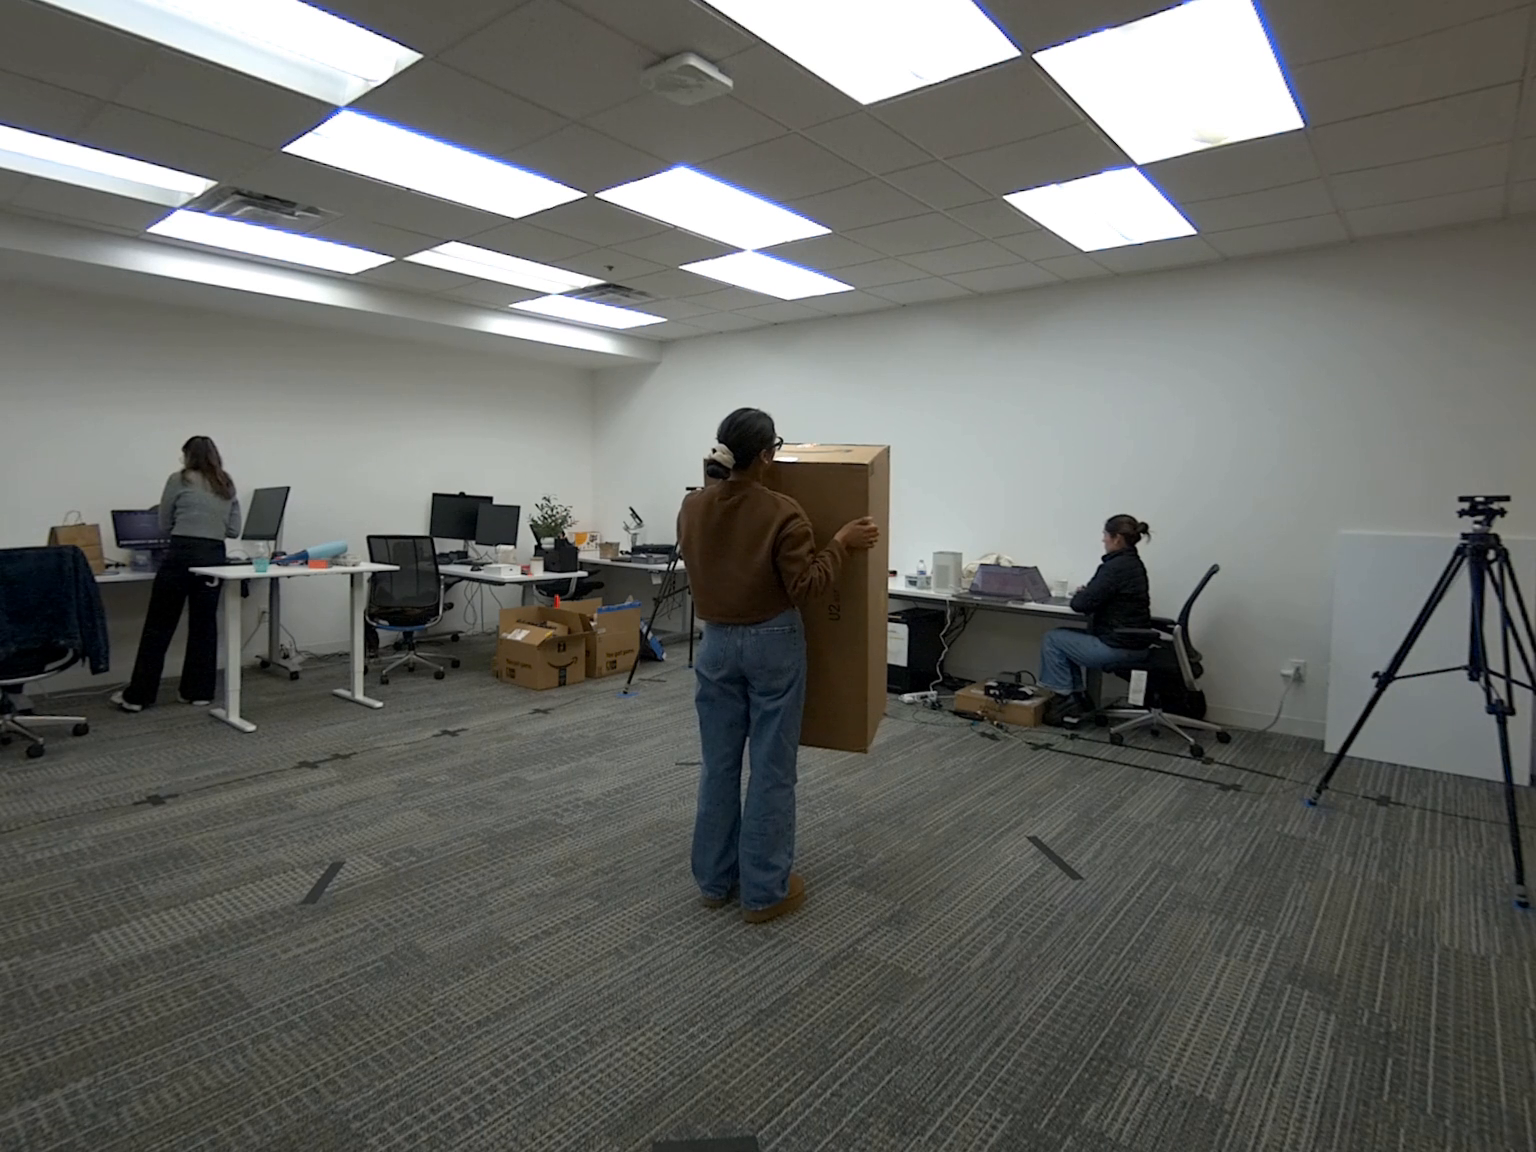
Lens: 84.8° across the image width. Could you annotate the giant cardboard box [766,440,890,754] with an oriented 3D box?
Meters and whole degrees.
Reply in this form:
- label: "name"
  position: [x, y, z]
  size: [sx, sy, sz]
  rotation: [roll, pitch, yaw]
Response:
- label: "giant cardboard box"
  position: [0.119, 0.051, 3.126]
  size: [0.590, 1.012, 0.423]
  rotation: [4, 15, 19]
